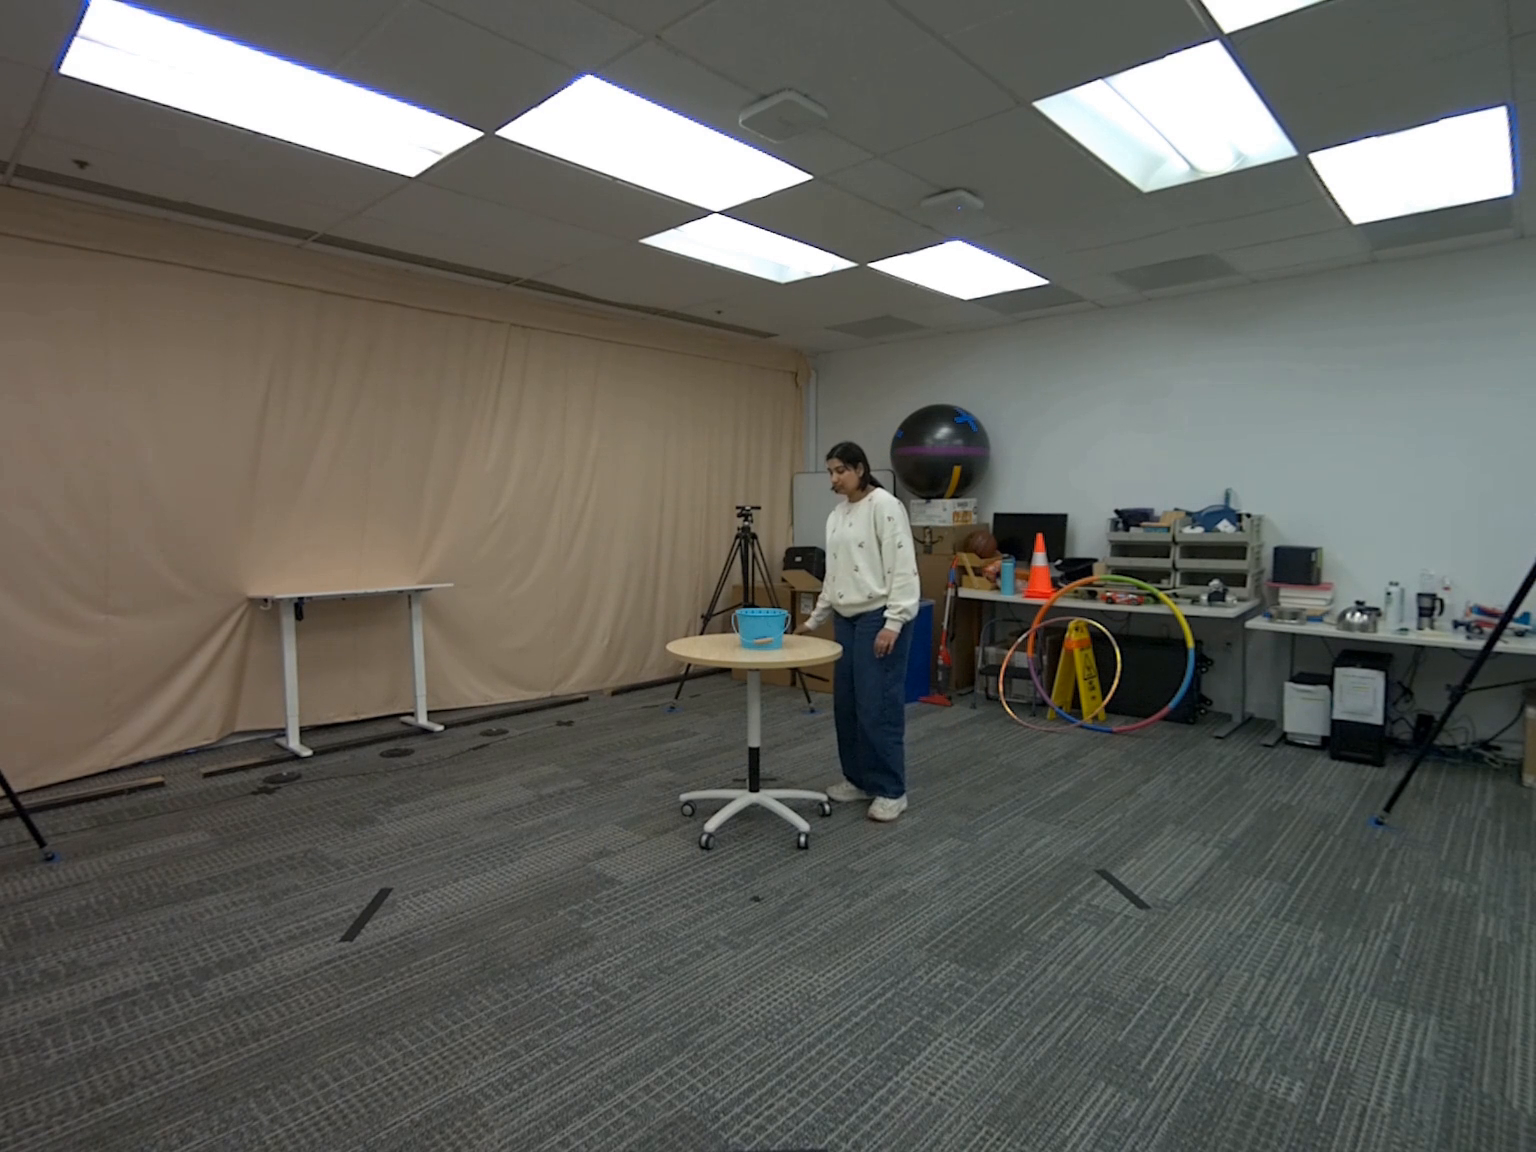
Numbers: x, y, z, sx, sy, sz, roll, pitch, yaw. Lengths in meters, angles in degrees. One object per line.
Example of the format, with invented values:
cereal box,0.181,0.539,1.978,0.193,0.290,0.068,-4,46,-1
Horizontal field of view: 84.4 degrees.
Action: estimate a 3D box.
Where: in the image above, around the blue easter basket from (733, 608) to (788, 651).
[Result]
blue easter basket,-0.032,0.235,3.682,0.243,0.156,0.244,0,3,-2
